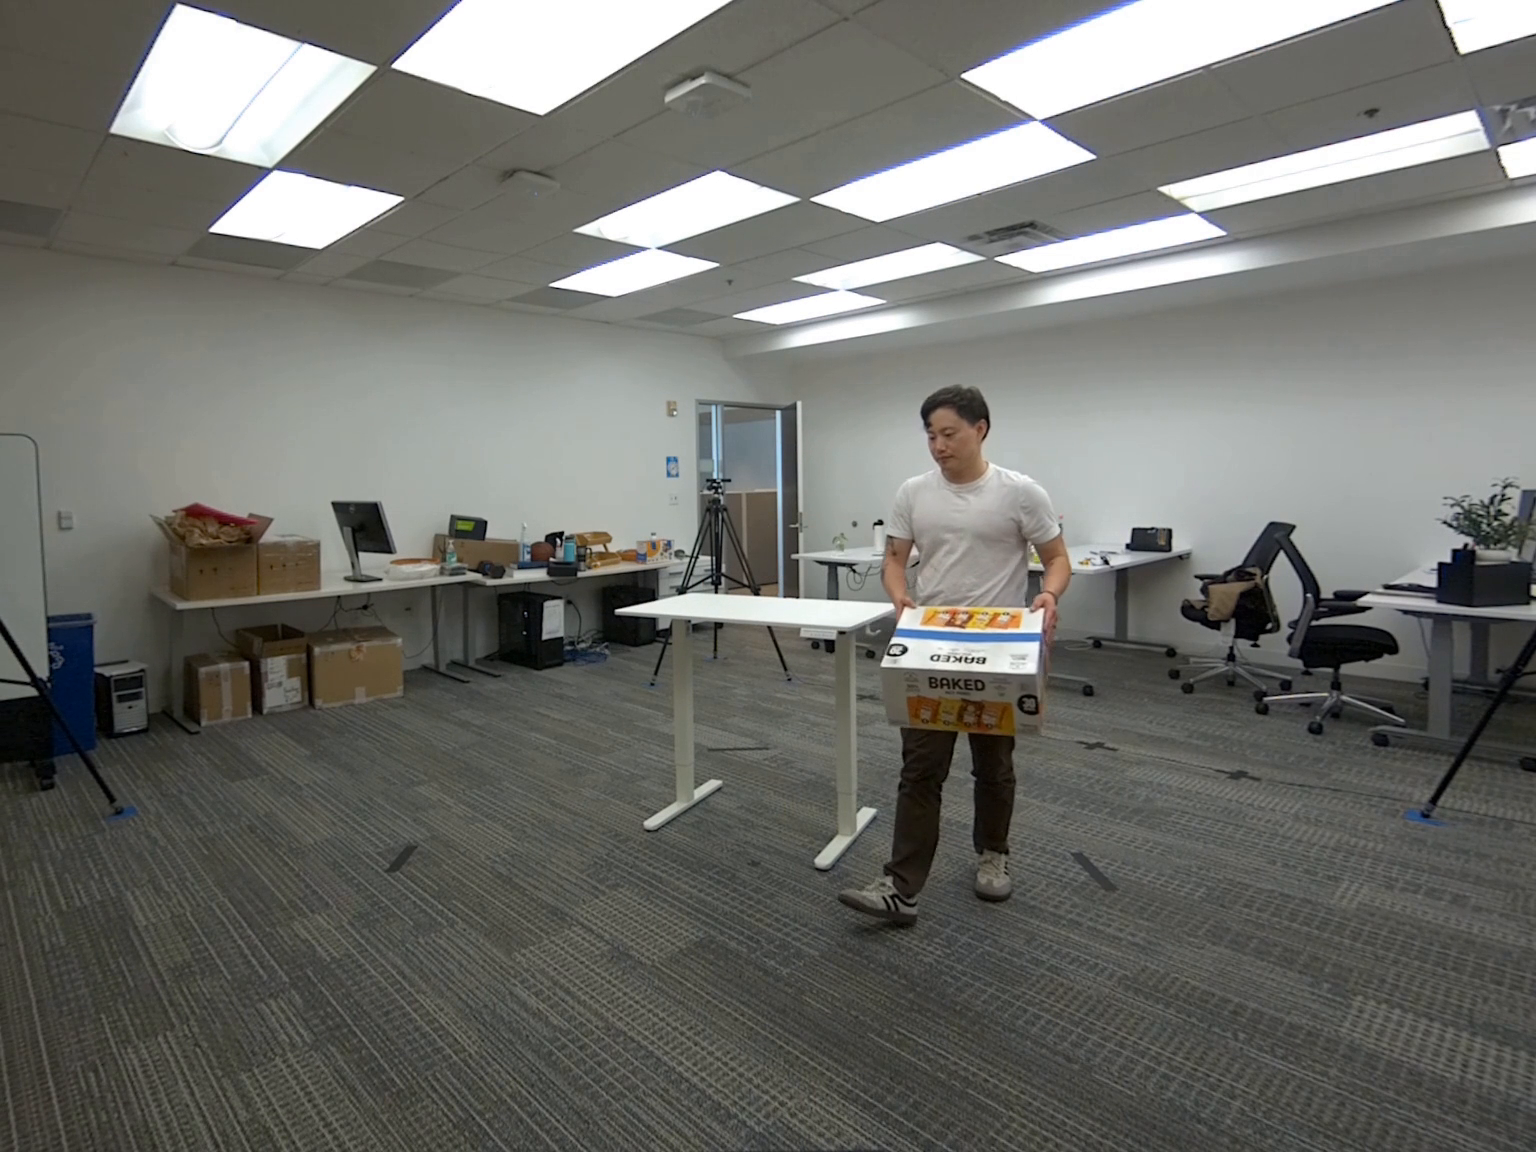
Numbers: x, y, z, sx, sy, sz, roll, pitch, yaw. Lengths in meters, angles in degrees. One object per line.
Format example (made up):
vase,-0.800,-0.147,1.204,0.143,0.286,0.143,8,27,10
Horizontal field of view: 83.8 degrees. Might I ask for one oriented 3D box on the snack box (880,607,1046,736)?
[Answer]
snack box,0.552,0.256,2.404,0.414,0.201,0.340,0,25,24
